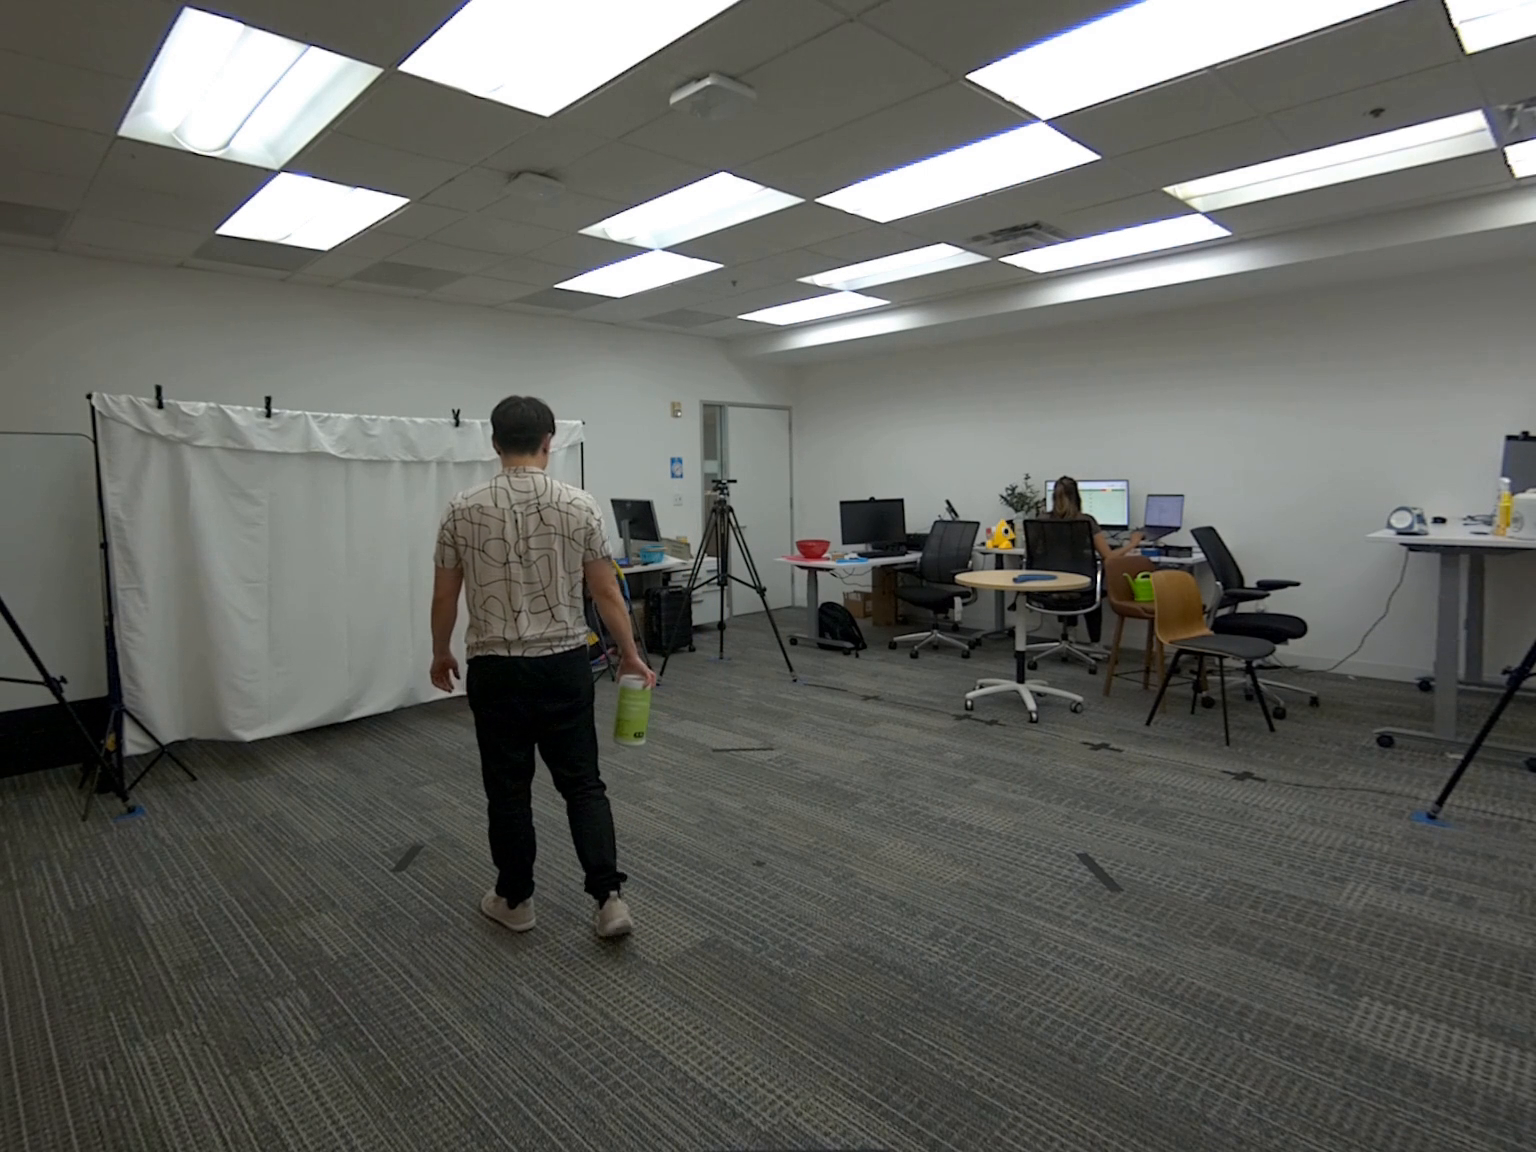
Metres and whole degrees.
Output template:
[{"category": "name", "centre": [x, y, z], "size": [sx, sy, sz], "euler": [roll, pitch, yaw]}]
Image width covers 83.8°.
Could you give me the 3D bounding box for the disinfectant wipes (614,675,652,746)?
[{"category": "disinfectant wipes", "centre": [-0.452, 0.445, 2.816], "size": [0.118, 0.217, 0.118], "euler": [7, 0, -2]}]
